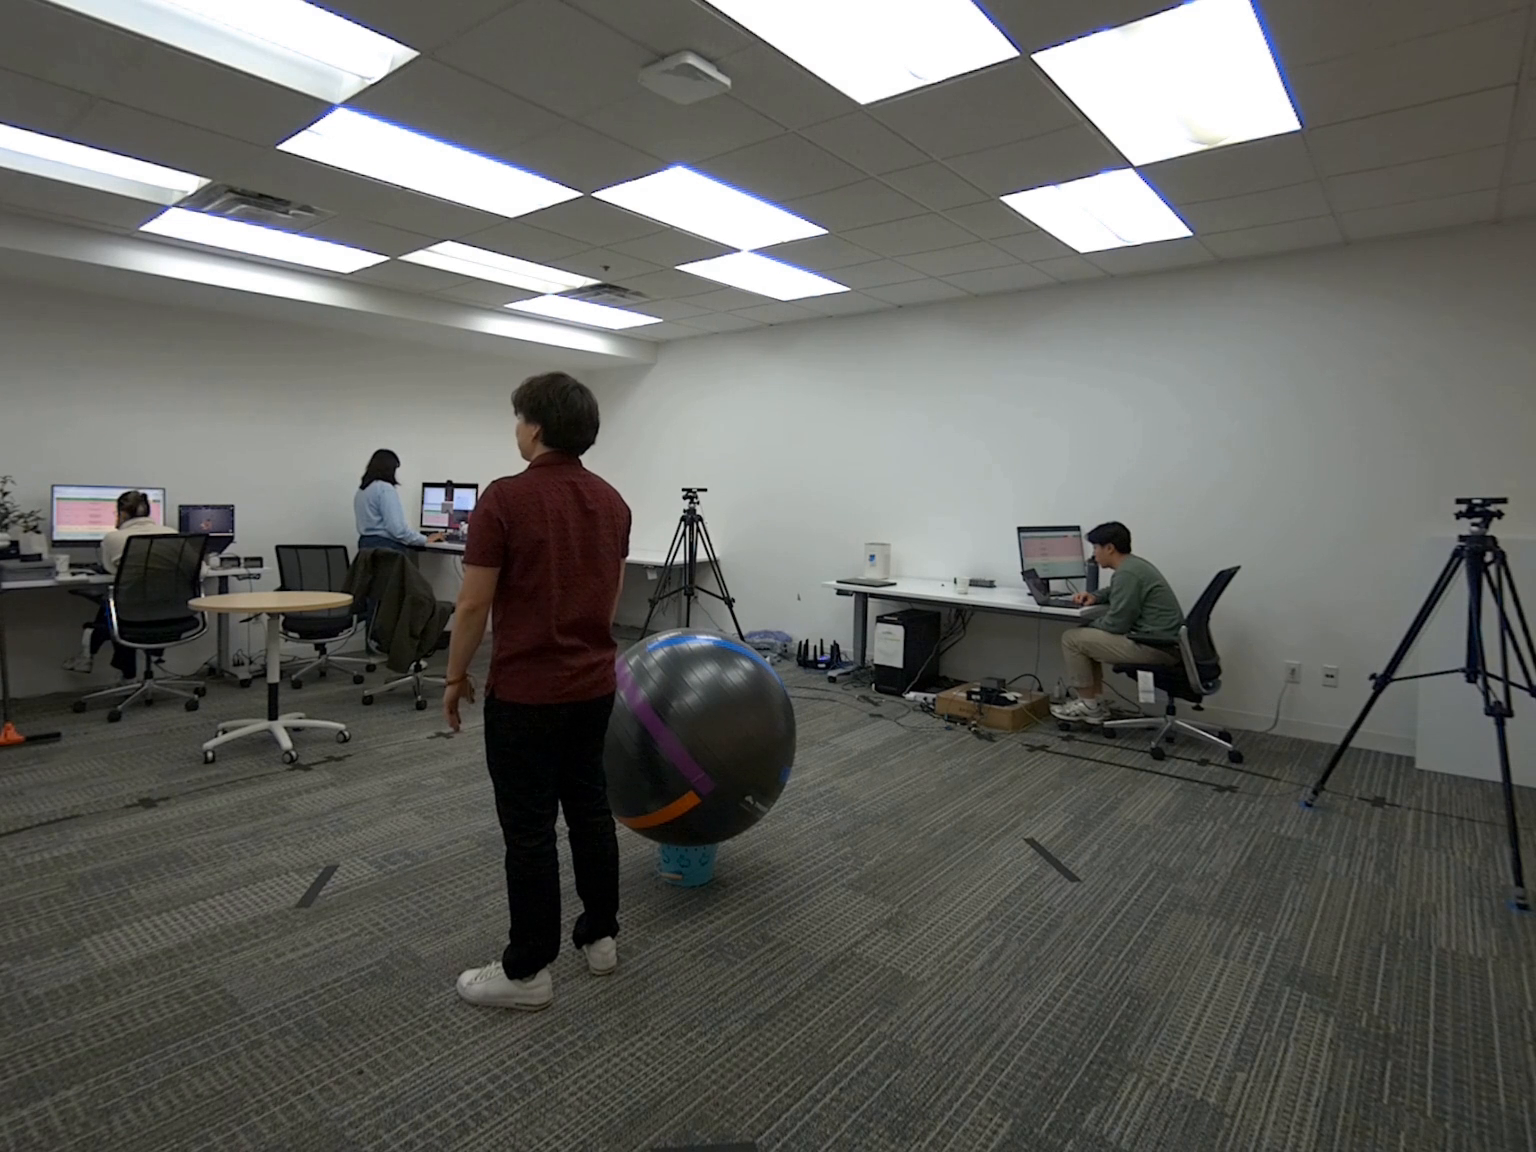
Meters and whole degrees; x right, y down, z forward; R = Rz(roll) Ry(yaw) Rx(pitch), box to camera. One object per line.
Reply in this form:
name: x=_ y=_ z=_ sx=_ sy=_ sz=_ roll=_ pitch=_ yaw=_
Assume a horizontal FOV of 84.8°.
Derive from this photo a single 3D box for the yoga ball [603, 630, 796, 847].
yoga ball: x=-0.277 y=0.566 z=3.038 sx=0.757 sy=0.755 sz=0.762 roll=1 pitch=4 yaw=-2
